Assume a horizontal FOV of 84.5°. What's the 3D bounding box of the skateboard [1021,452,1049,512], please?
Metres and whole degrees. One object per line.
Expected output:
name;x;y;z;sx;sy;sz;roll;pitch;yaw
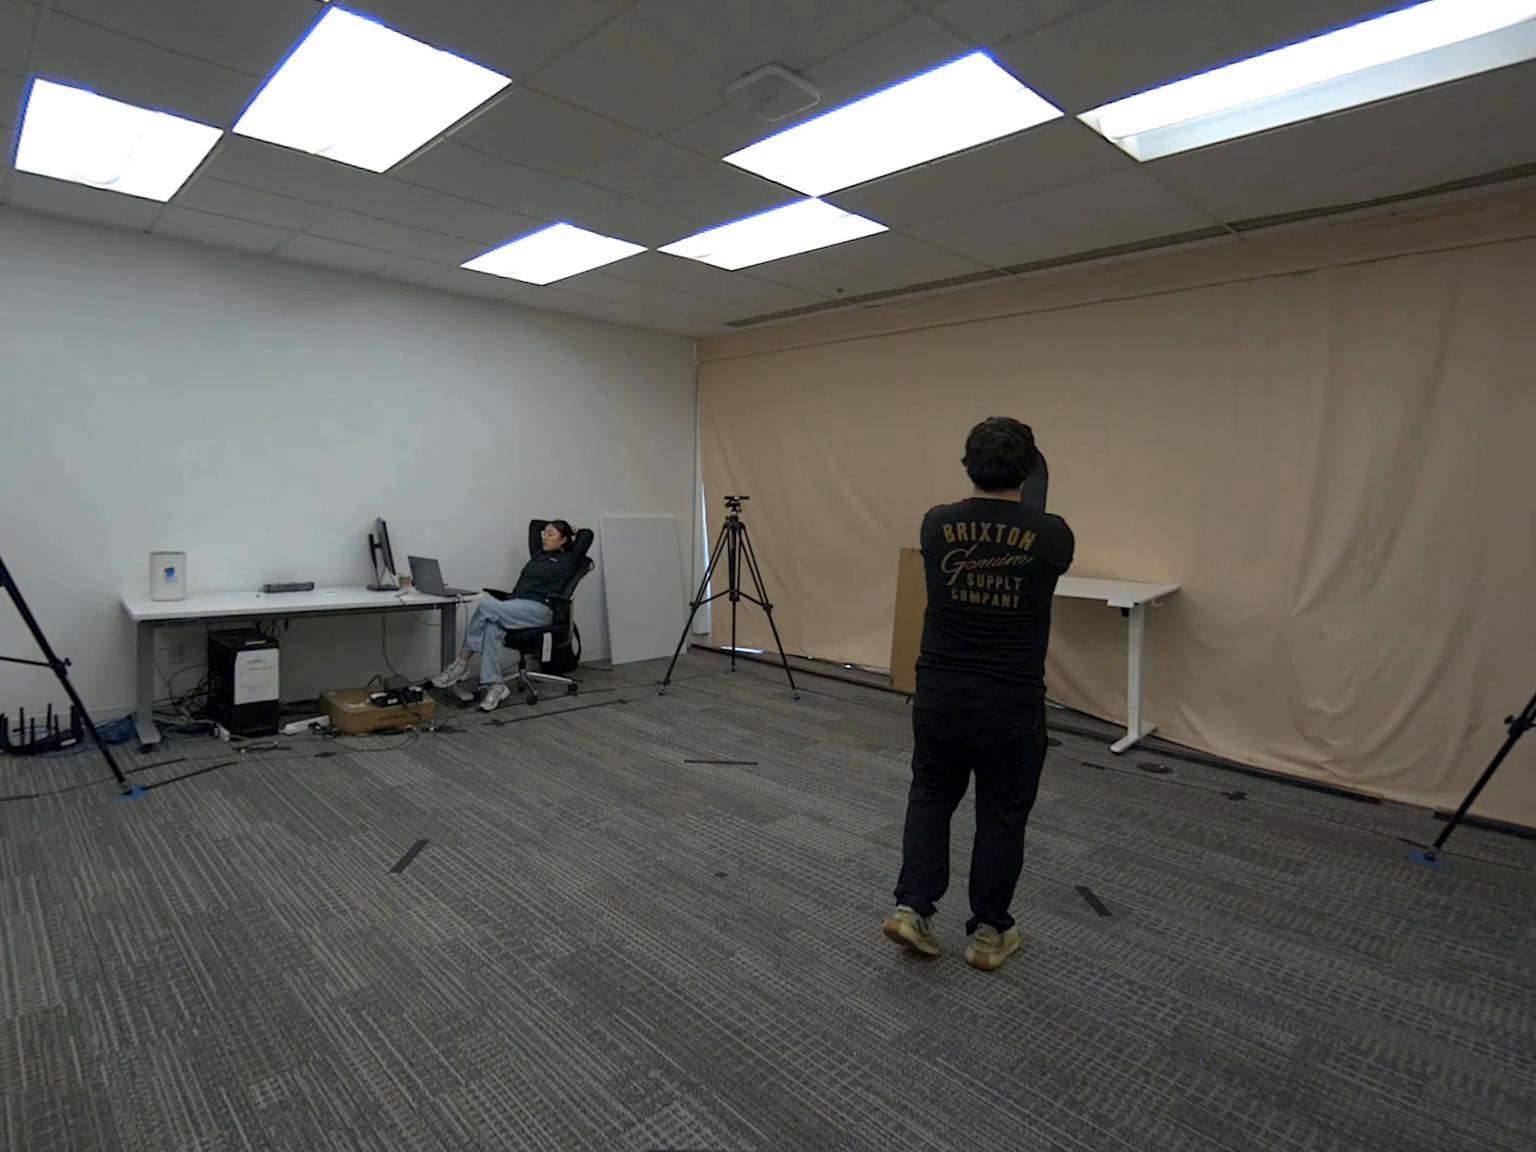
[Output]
skateboard;0.893;-0.078;3.071;0.197;0.788;0.108;5;-6;21
